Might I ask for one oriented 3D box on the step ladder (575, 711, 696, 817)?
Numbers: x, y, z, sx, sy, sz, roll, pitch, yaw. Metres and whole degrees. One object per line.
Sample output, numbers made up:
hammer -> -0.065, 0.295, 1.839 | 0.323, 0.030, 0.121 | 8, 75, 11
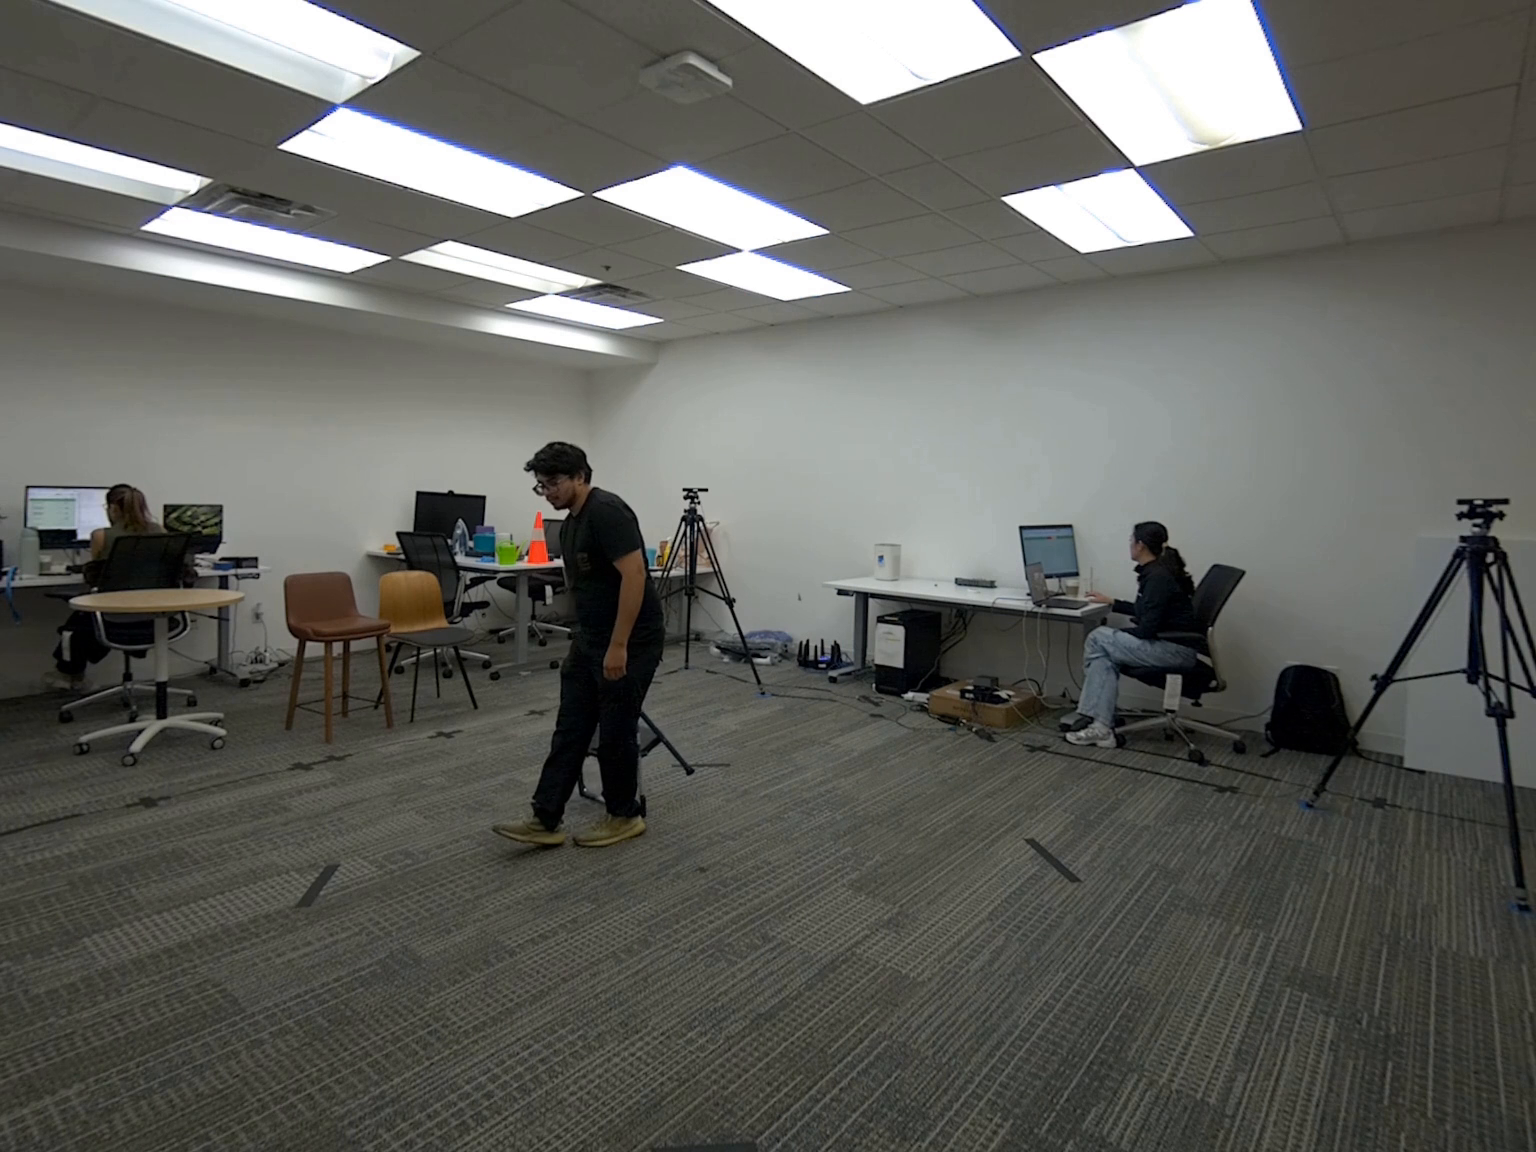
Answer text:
step ladder -> -0.671, 0.659, 3.728 | 0.445, 0.592, 0.346 | 3, 27, 38
